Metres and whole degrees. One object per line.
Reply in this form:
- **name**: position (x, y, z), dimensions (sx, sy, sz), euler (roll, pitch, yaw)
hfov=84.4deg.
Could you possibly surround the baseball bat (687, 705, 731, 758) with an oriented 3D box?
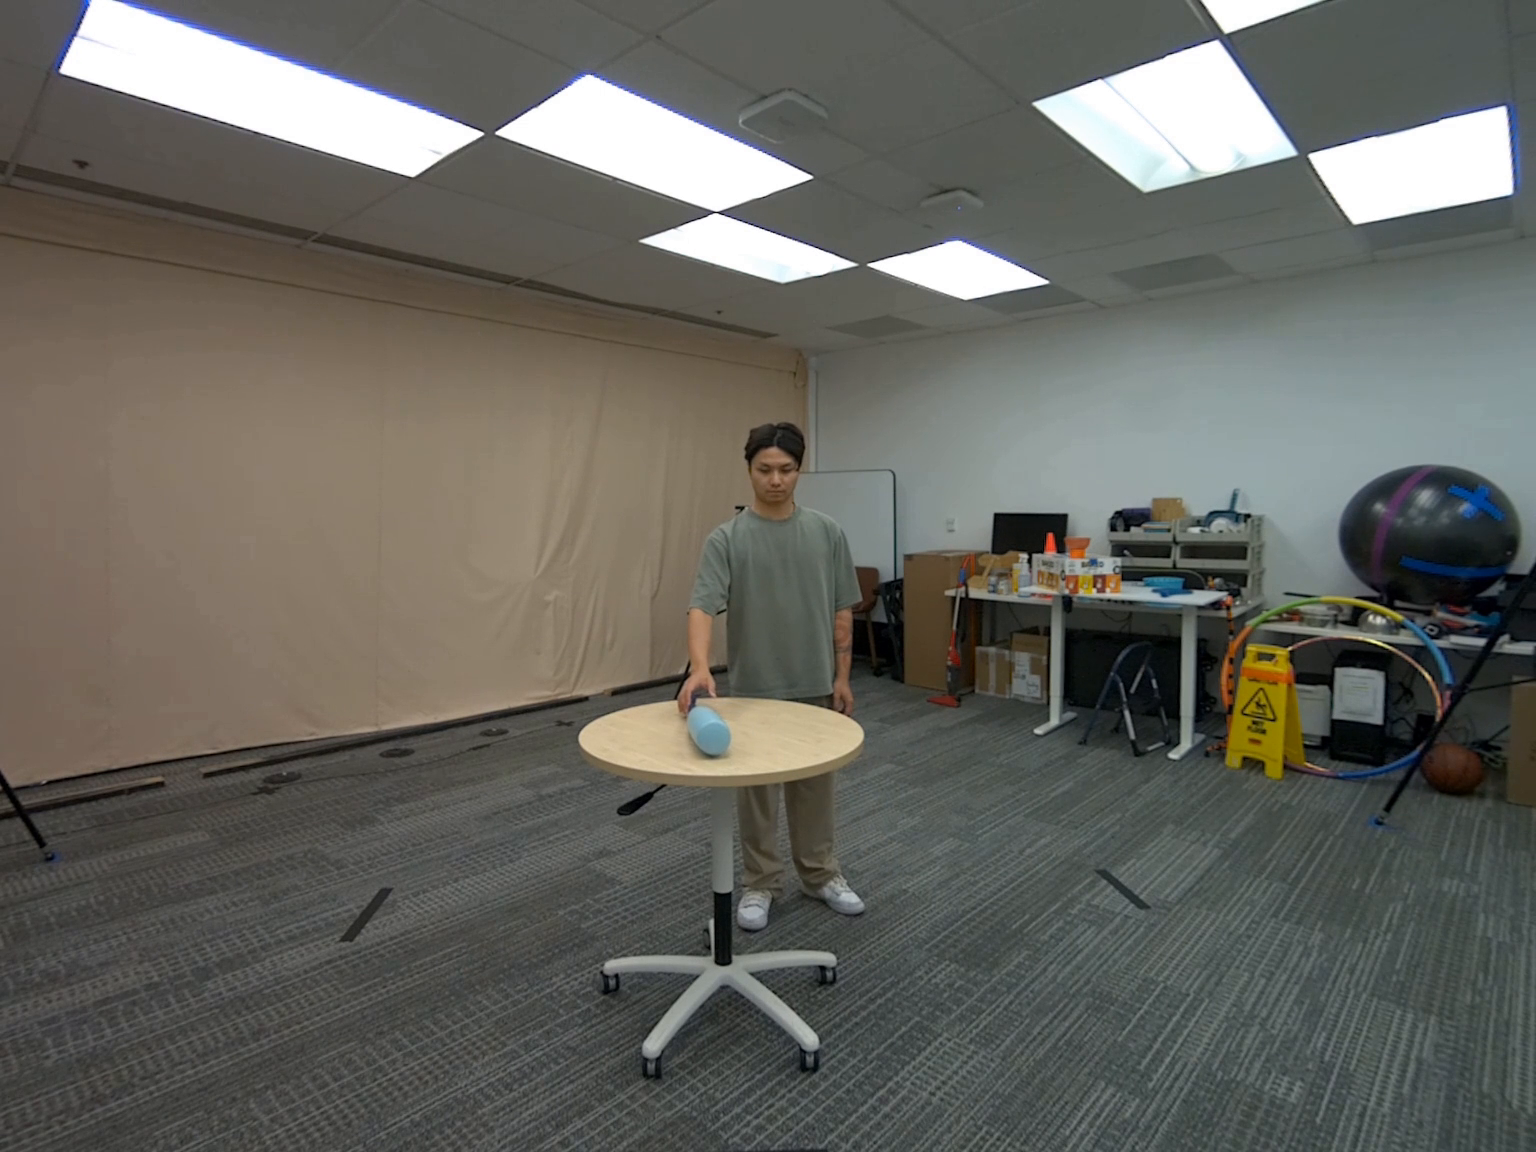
- **baseball bat**: position (-0.176, 0.384, 2.274), dimensions (0.088, 0.089, 0.551), euler (-1, 1, -15)
